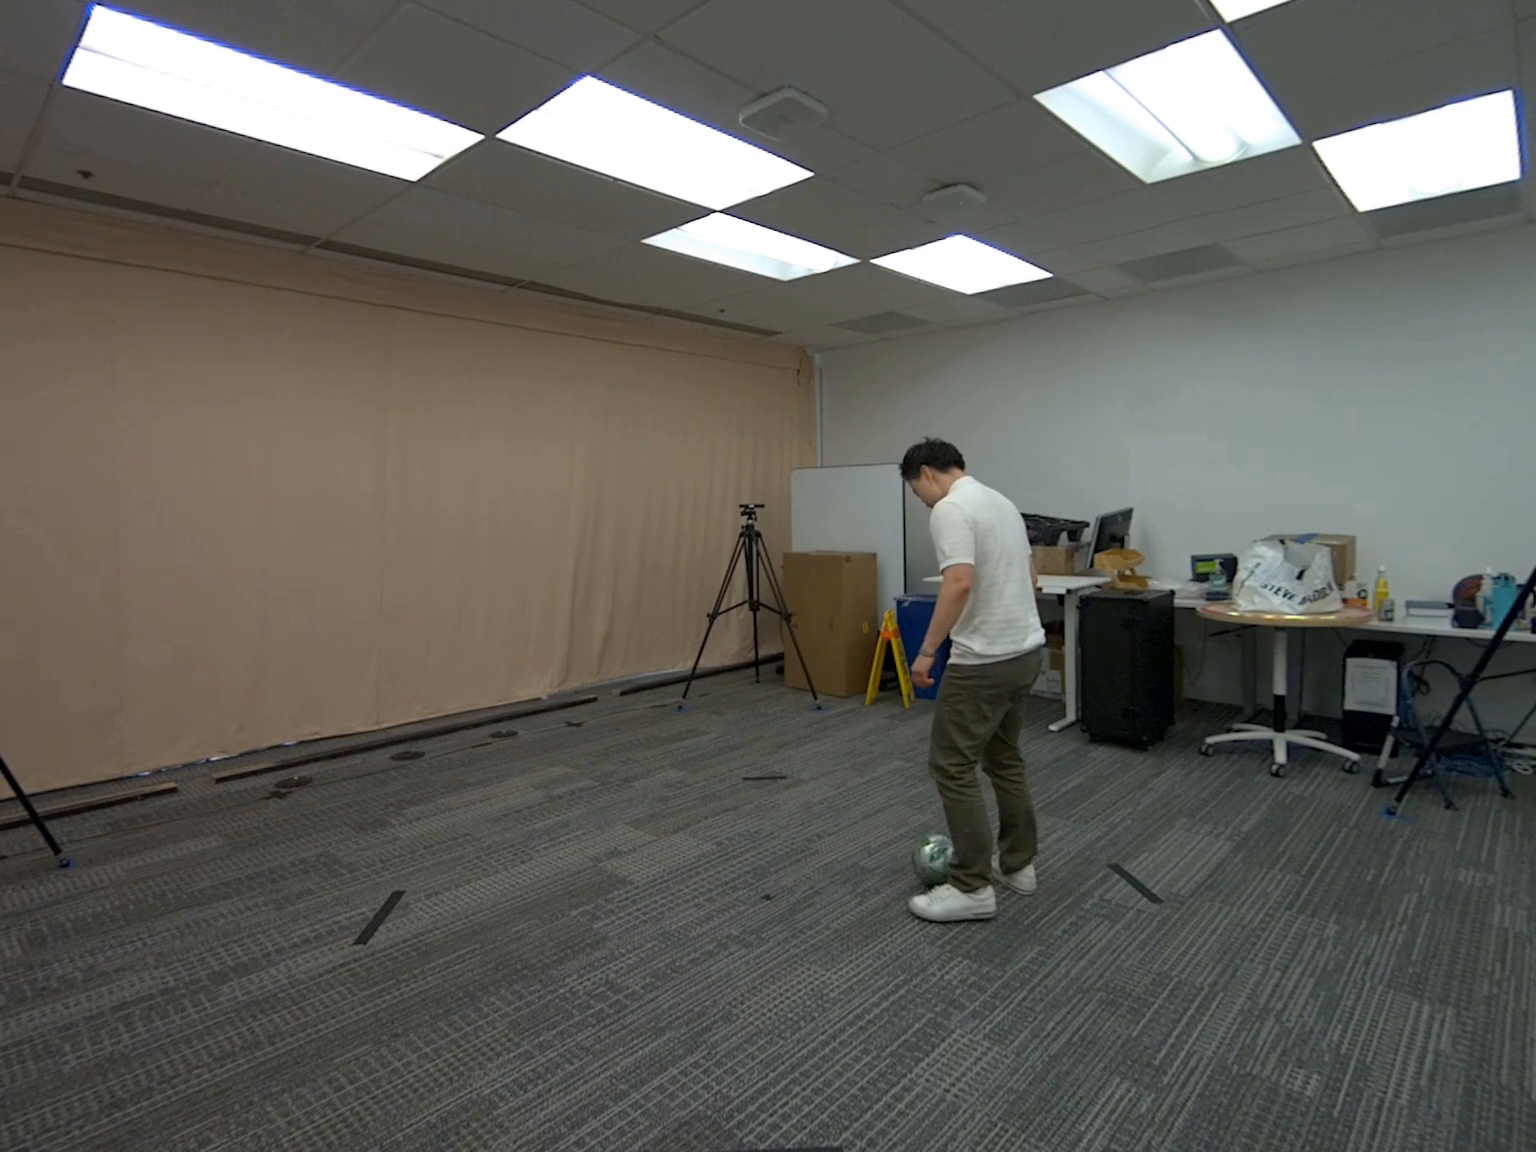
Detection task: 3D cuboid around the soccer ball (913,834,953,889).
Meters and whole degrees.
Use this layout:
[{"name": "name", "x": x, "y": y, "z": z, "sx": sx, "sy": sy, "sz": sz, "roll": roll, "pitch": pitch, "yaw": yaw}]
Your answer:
[{"name": "soccer ball", "x": 0.627, "y": 1.035, "z": 3.051, "sx": 0.187, "sy": 0.187, "sz": 0.188, "roll": -1, "pitch": 4, "yaw": -2}]
